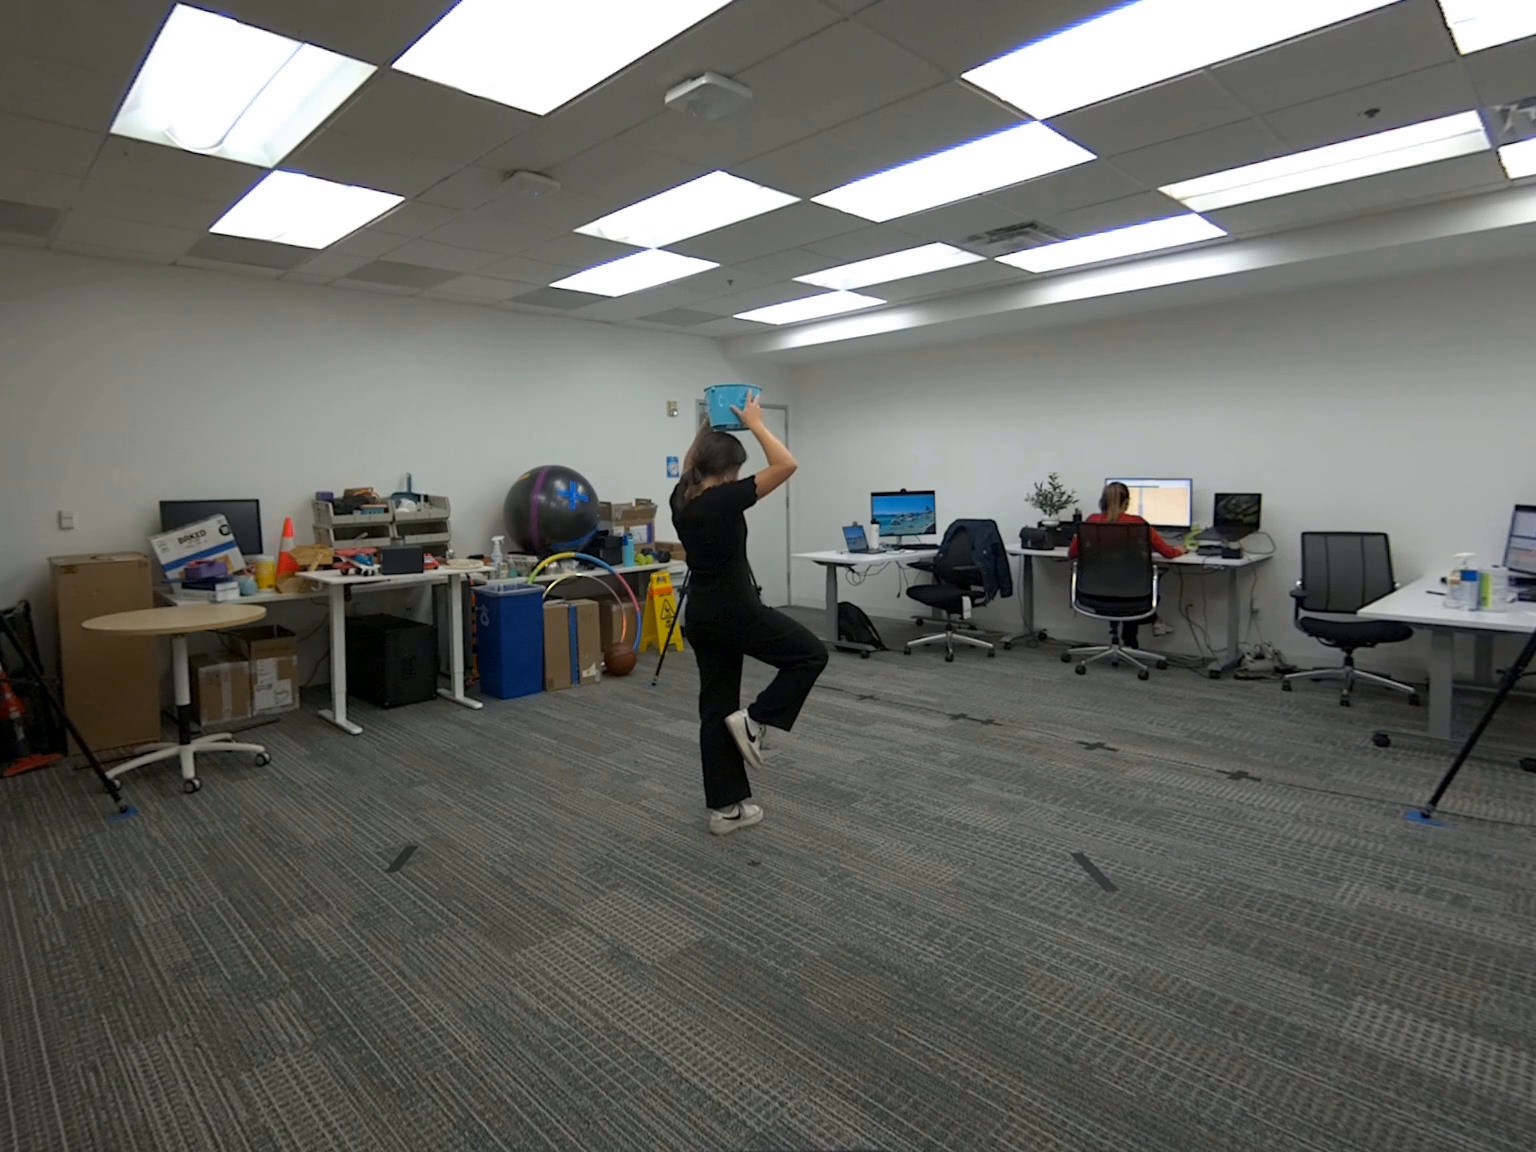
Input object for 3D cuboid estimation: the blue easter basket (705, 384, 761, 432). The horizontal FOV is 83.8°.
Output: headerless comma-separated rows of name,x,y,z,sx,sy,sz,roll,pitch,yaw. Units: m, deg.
blue easter basket,-0.138,-0.670,3.420,0.243,0.156,0.243,1,-1,-2
